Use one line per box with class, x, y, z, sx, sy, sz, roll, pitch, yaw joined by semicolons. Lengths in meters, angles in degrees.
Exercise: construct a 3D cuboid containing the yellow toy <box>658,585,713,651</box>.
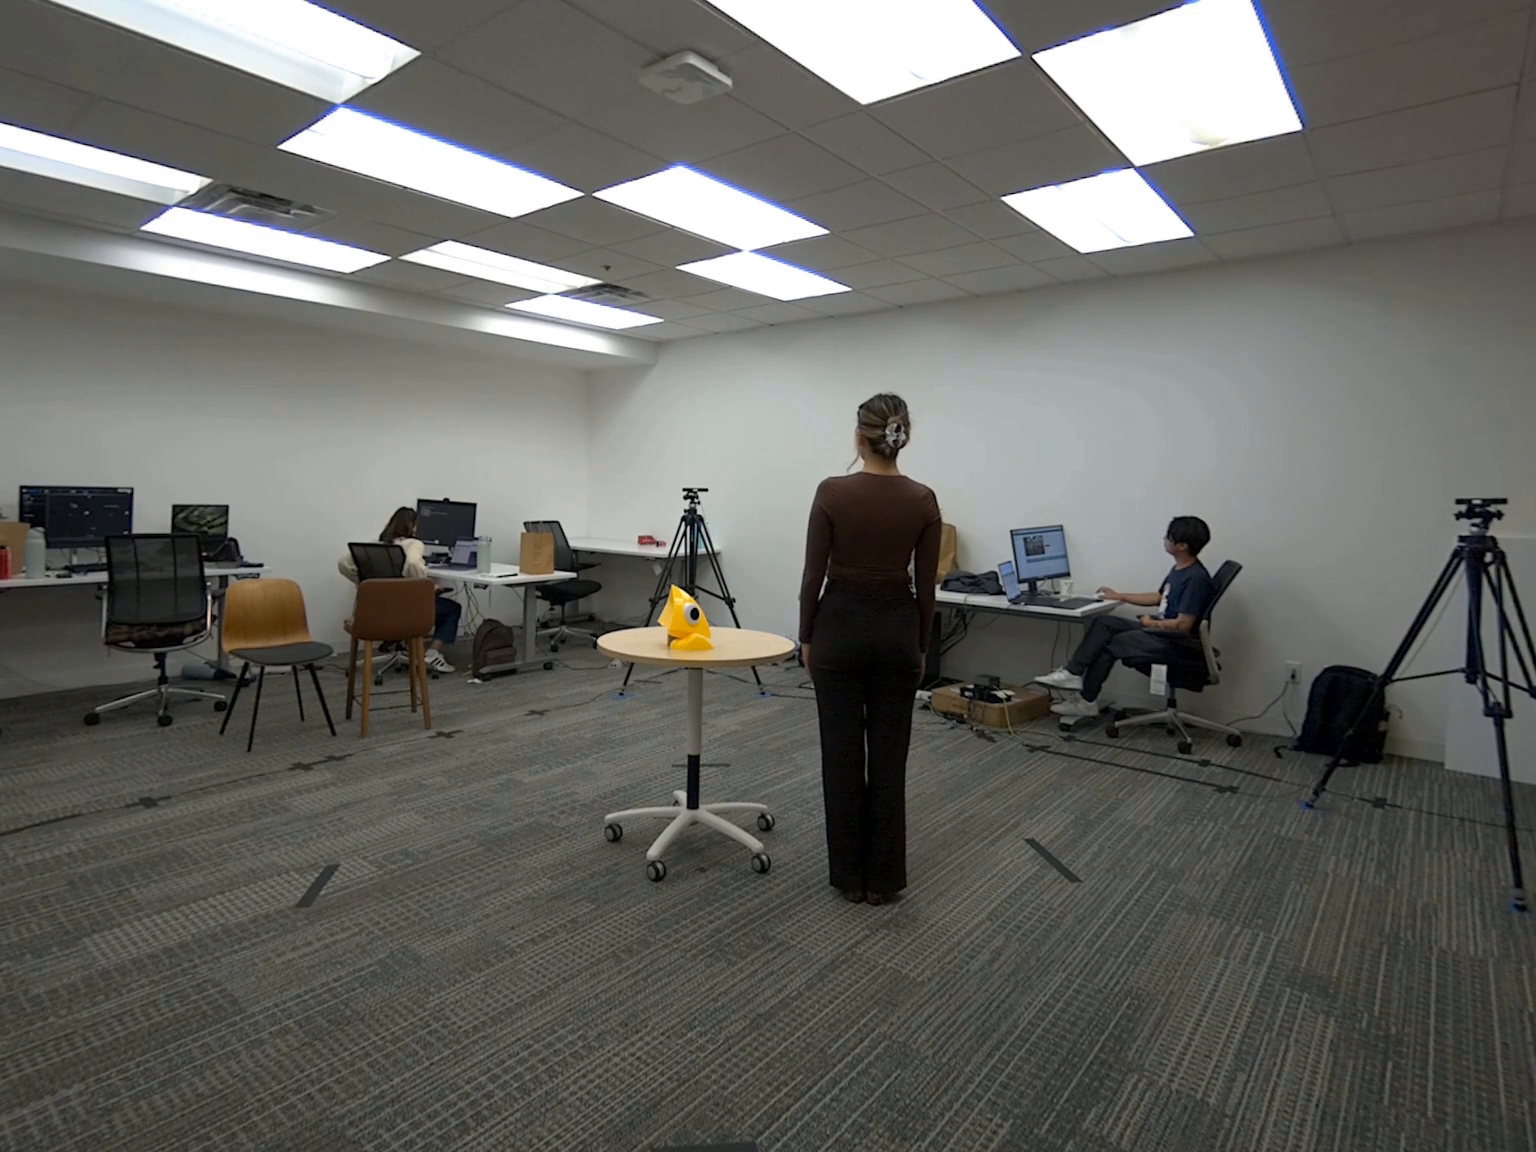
yellow toy;-0.316;0.145;3.204;0.189;0.230;0.209;0;4;-19
